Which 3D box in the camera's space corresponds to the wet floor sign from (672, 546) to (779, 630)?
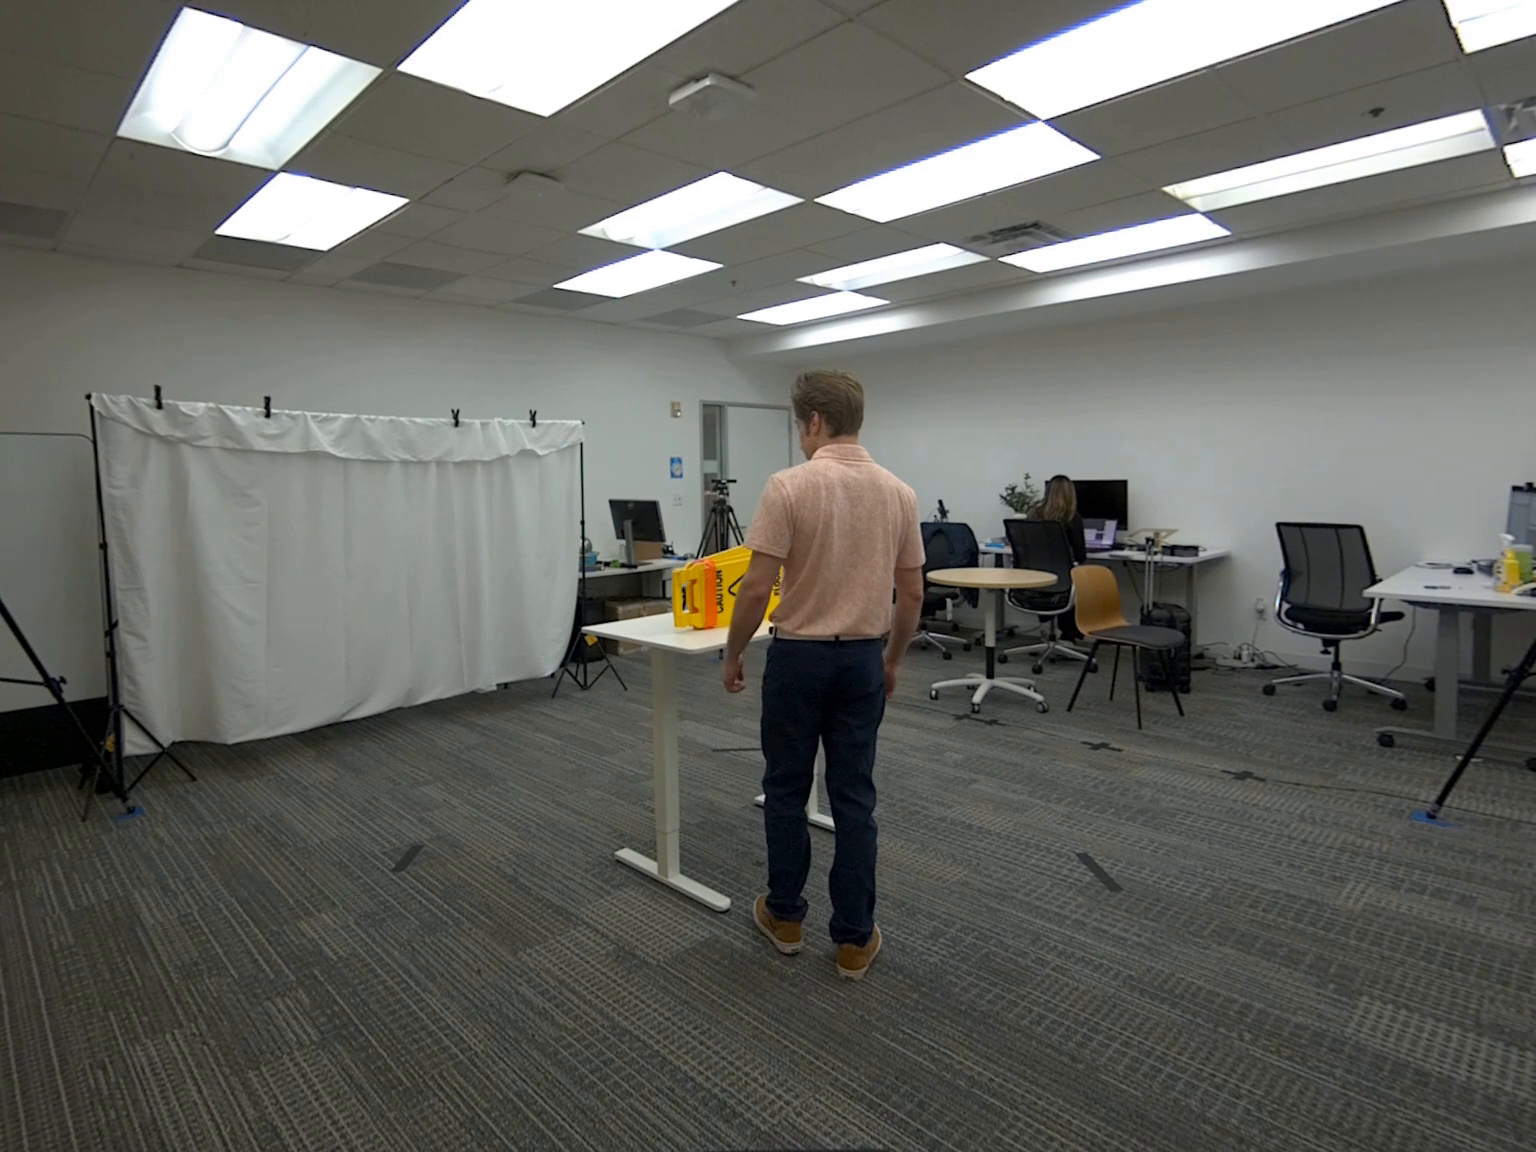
[{"bbox_3d":[-0.106,0.040,3.104,0.299,0.280,0.630,4,10,44],"label":"wet floor sign"}]
